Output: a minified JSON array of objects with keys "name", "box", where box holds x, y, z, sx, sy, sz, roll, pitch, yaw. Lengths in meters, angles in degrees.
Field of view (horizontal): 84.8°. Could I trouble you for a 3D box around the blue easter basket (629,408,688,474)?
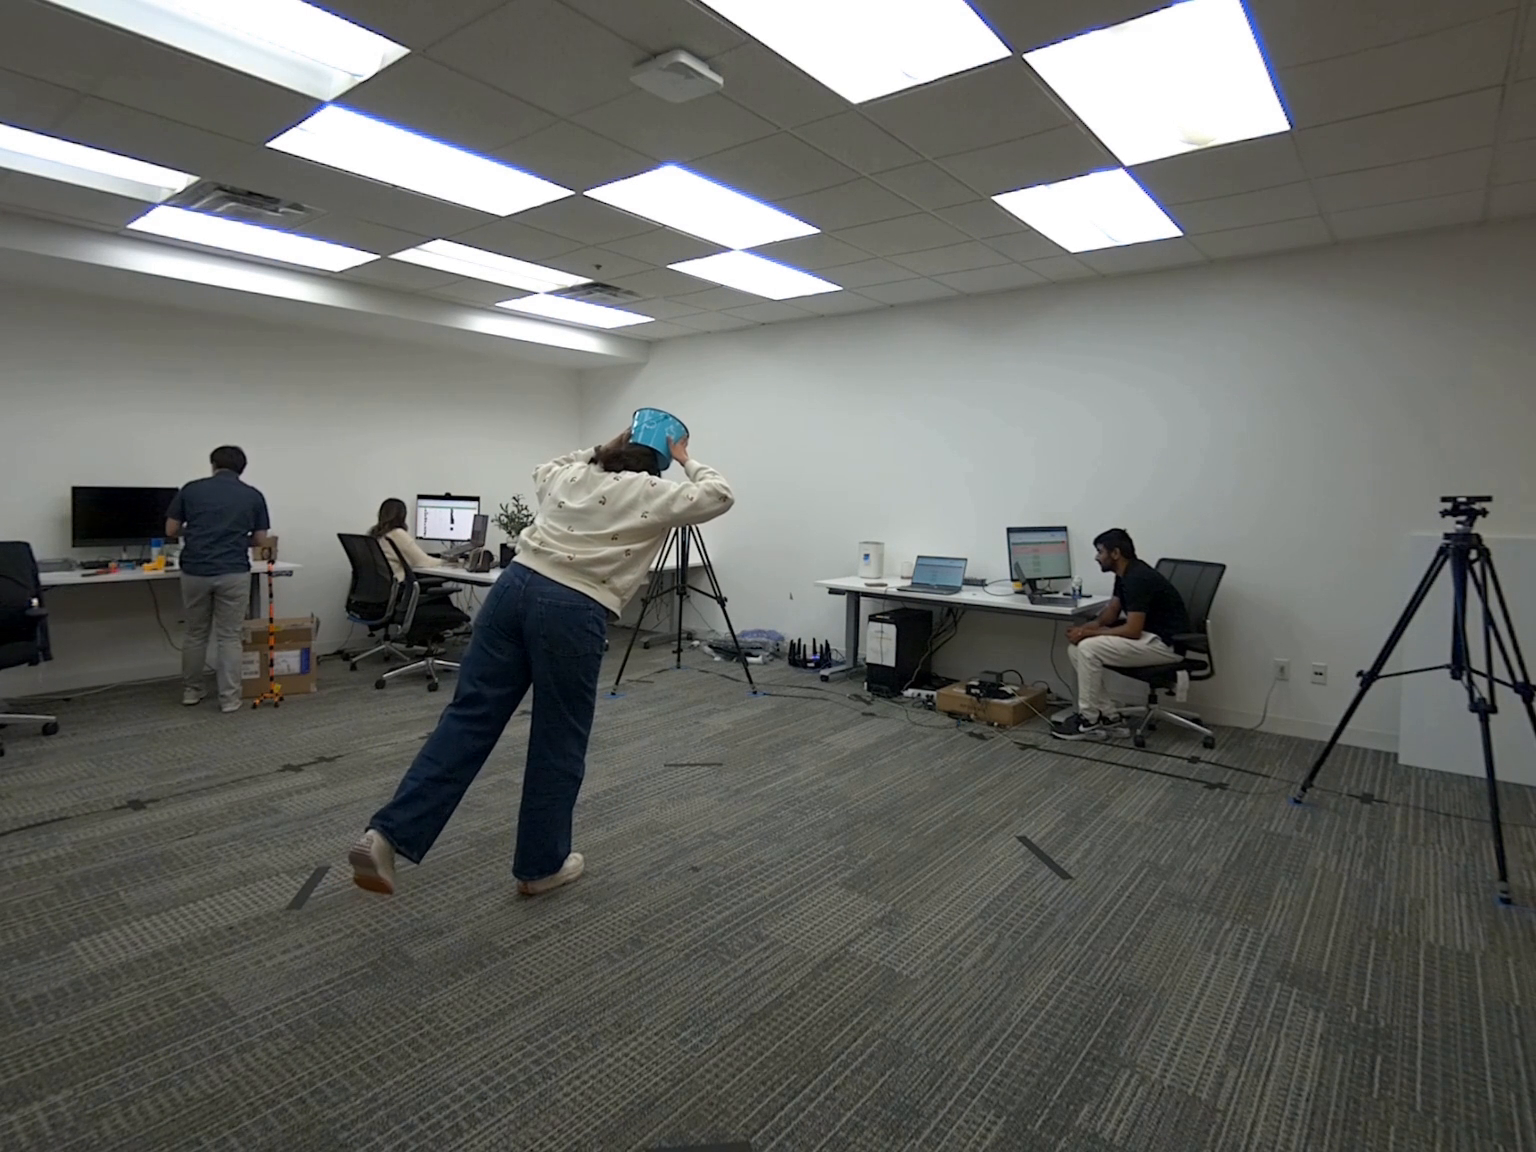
[{"name":"blue easter basket","box":[-0.458,-0.523,3.292,0.246,0.157,0.238,20,-23,7]}]
